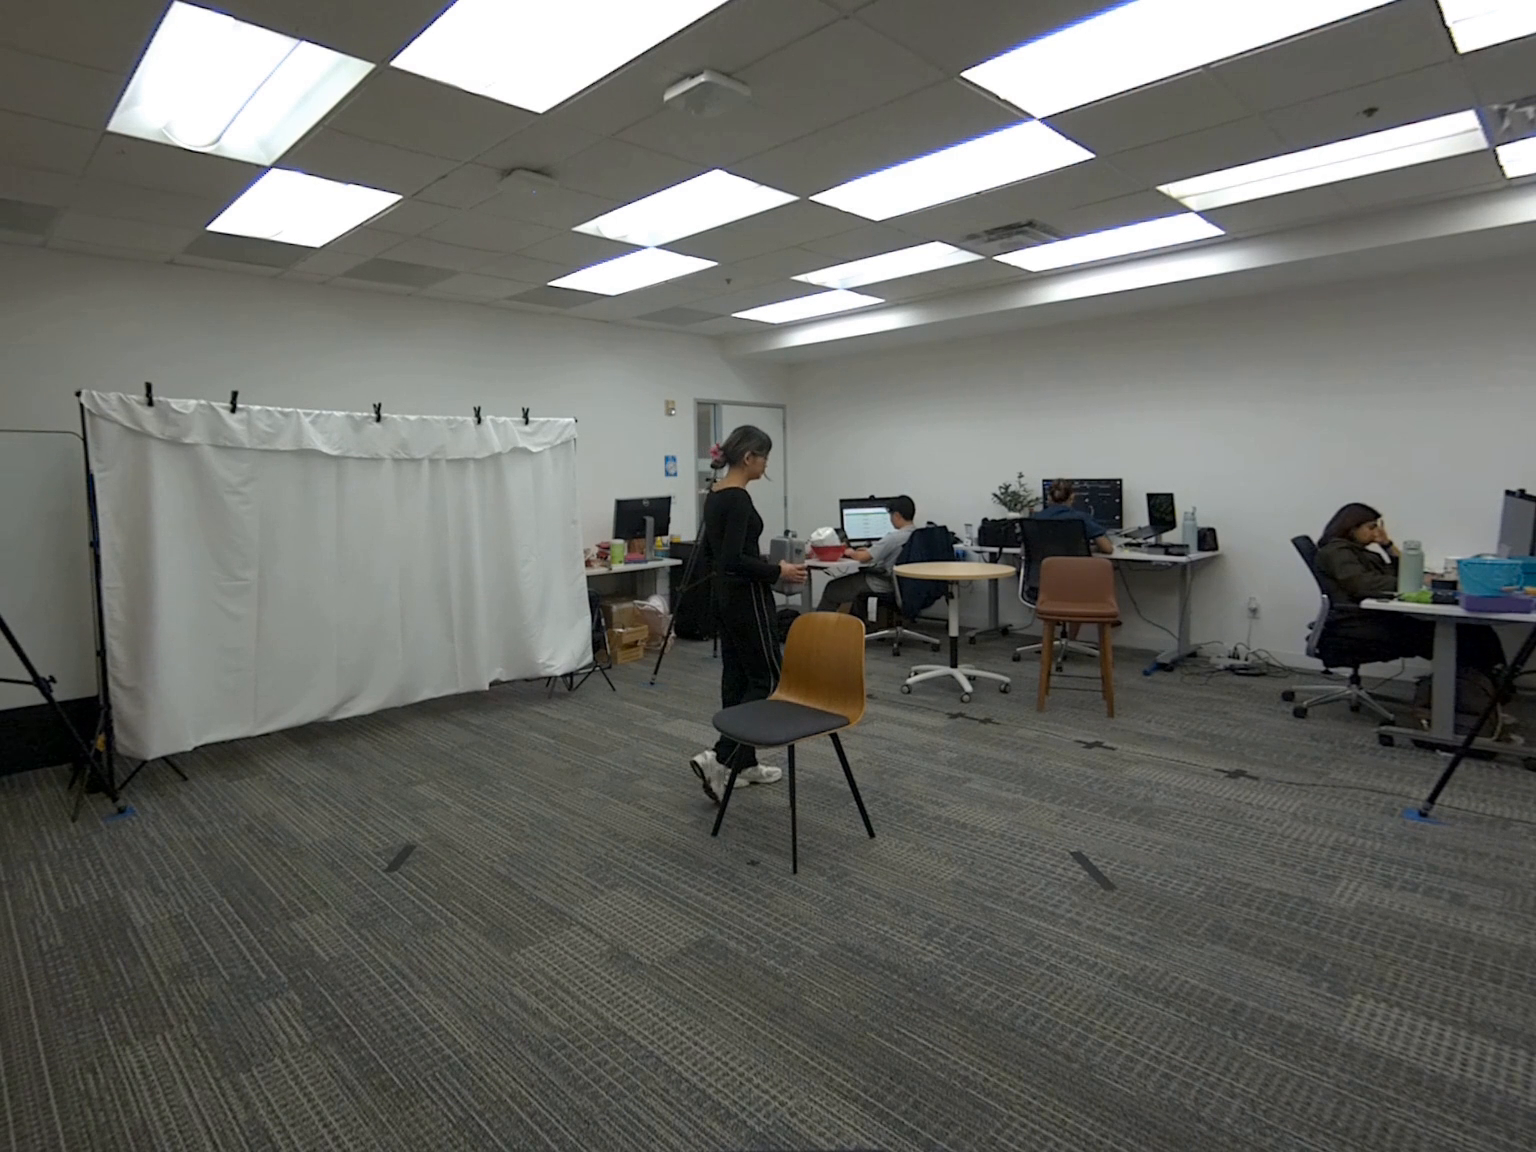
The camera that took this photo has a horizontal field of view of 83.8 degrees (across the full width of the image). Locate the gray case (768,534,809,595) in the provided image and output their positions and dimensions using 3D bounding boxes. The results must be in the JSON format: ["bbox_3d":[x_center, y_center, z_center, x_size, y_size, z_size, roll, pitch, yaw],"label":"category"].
[{"bbox_3d":[0.084,-0.057,3.877,0.103,0.261,0.260,3,0,-15],"label":"gray case"}]
